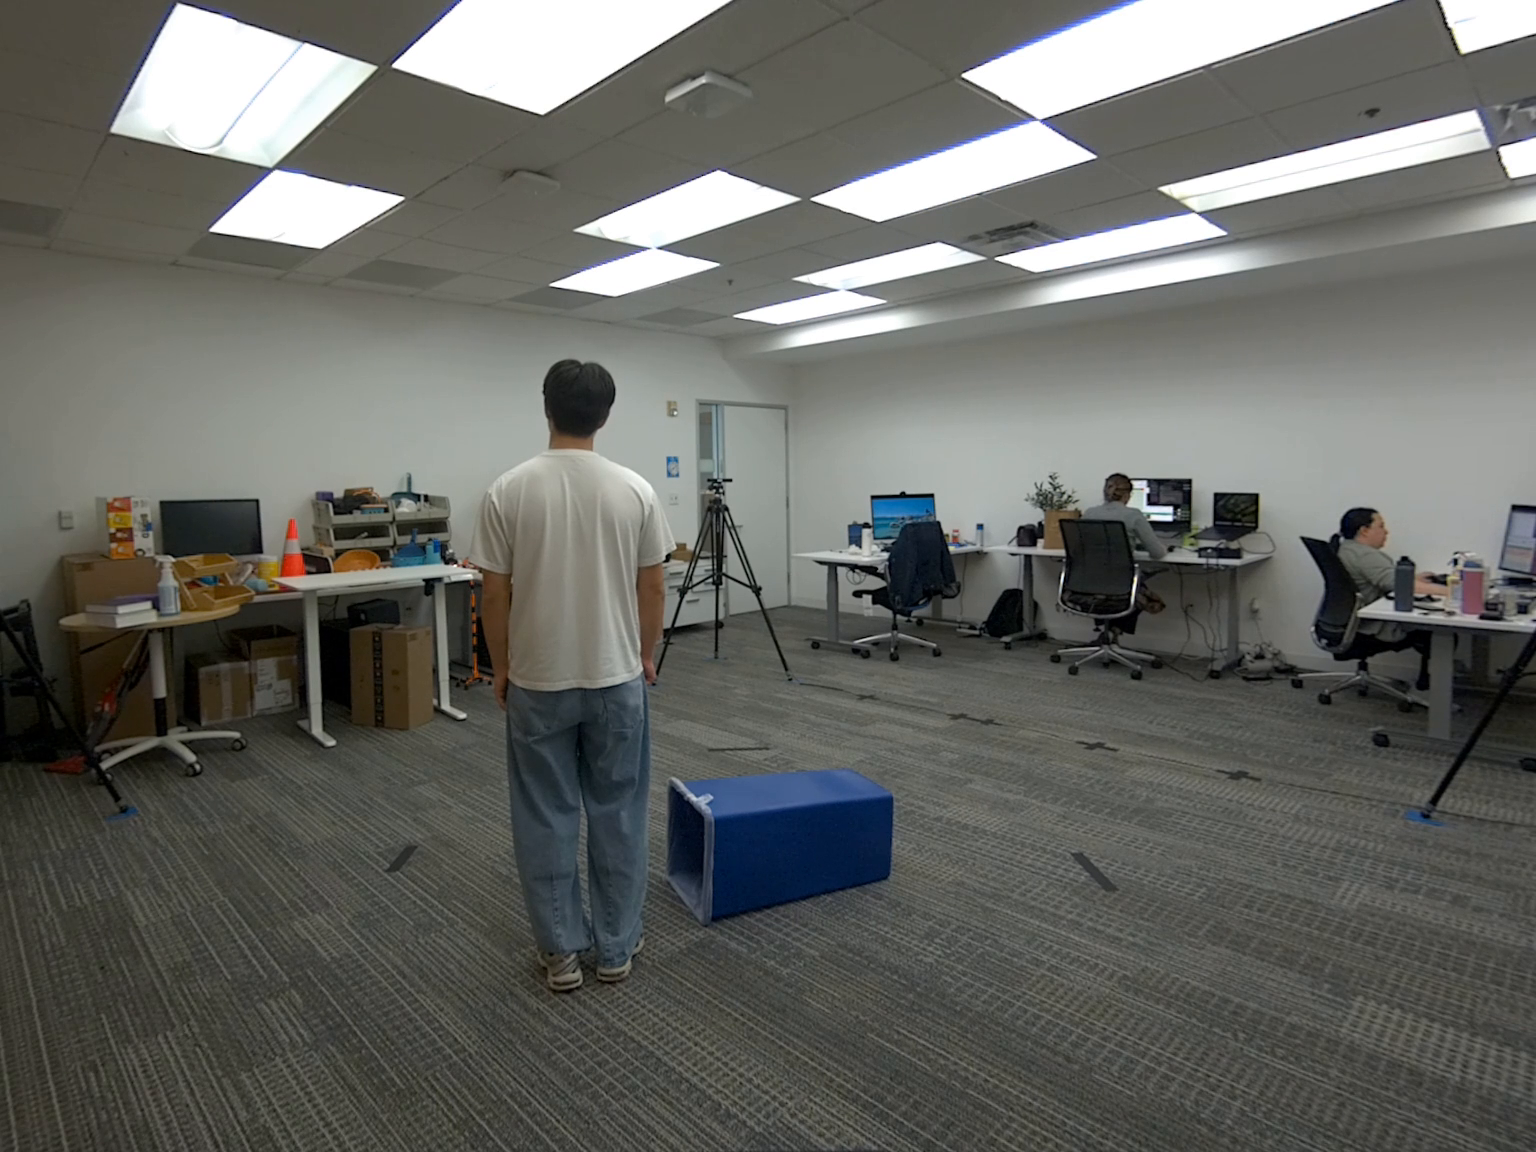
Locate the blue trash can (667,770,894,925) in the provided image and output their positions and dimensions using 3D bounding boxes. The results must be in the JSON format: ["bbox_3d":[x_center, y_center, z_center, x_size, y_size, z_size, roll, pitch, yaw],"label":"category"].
[{"bbox_3d":[0.047,0.895,2.961,0.698,0.377,0.383,-1,4,-25],"label":"blue trash can"}]
